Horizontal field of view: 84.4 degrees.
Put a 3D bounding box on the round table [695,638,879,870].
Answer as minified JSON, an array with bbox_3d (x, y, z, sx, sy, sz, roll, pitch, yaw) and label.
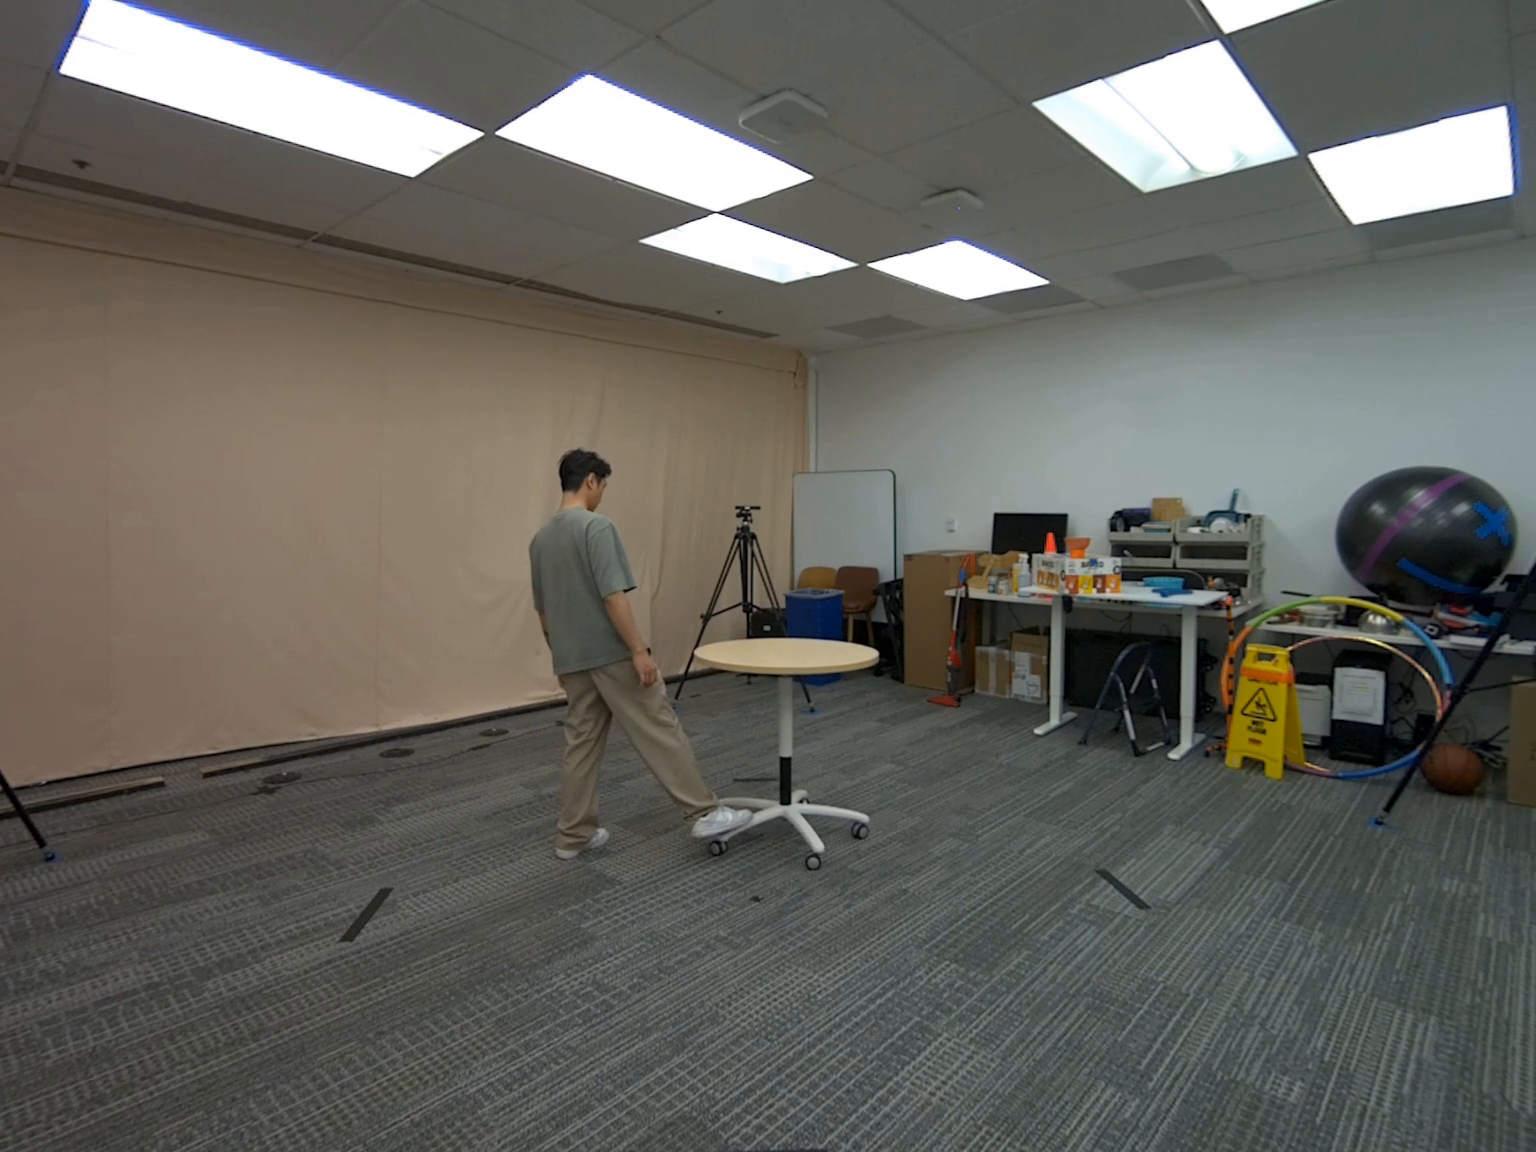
[{"bbox_3d":[0.069,0.705,3.542,0.784,0.785,0.787,0,3,-2],"label":"round table"}]
